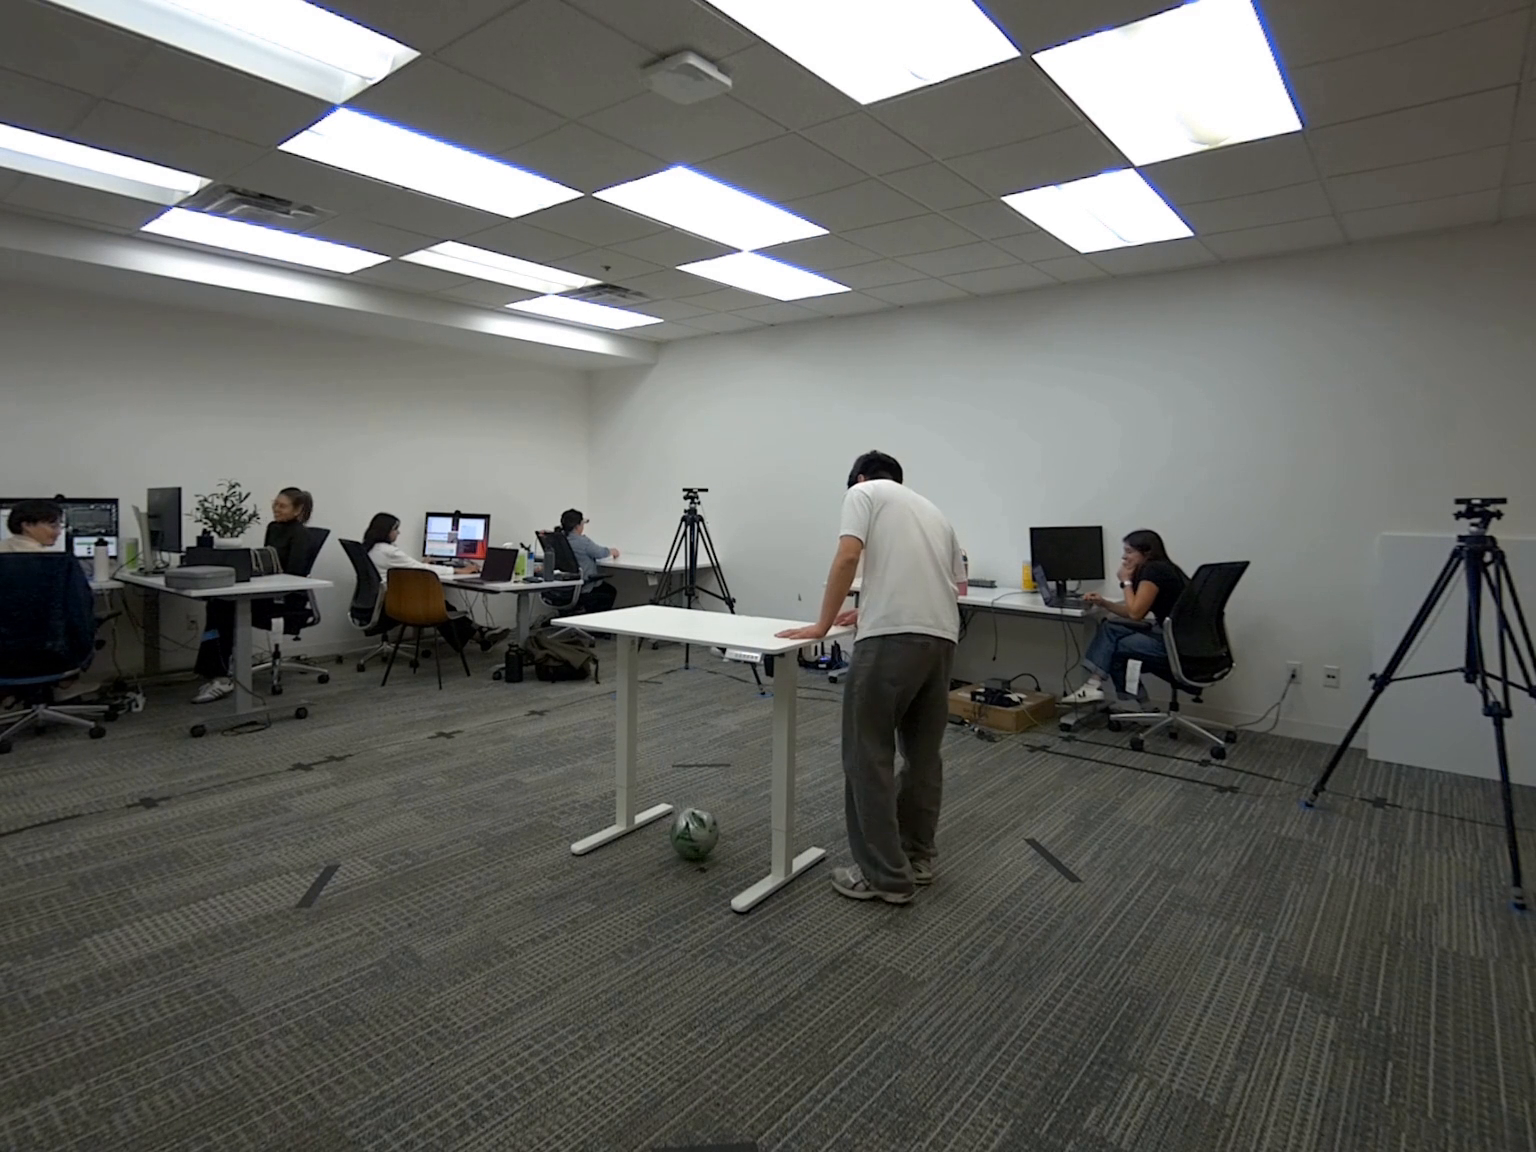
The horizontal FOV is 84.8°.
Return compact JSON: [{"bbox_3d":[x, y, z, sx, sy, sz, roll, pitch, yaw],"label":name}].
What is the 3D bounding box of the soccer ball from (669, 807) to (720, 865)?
[{"bbox_3d":[-0.281,0.963,3.208,0.187,0.187,0.188,1,4,-2],"label":"soccer ball"}]
